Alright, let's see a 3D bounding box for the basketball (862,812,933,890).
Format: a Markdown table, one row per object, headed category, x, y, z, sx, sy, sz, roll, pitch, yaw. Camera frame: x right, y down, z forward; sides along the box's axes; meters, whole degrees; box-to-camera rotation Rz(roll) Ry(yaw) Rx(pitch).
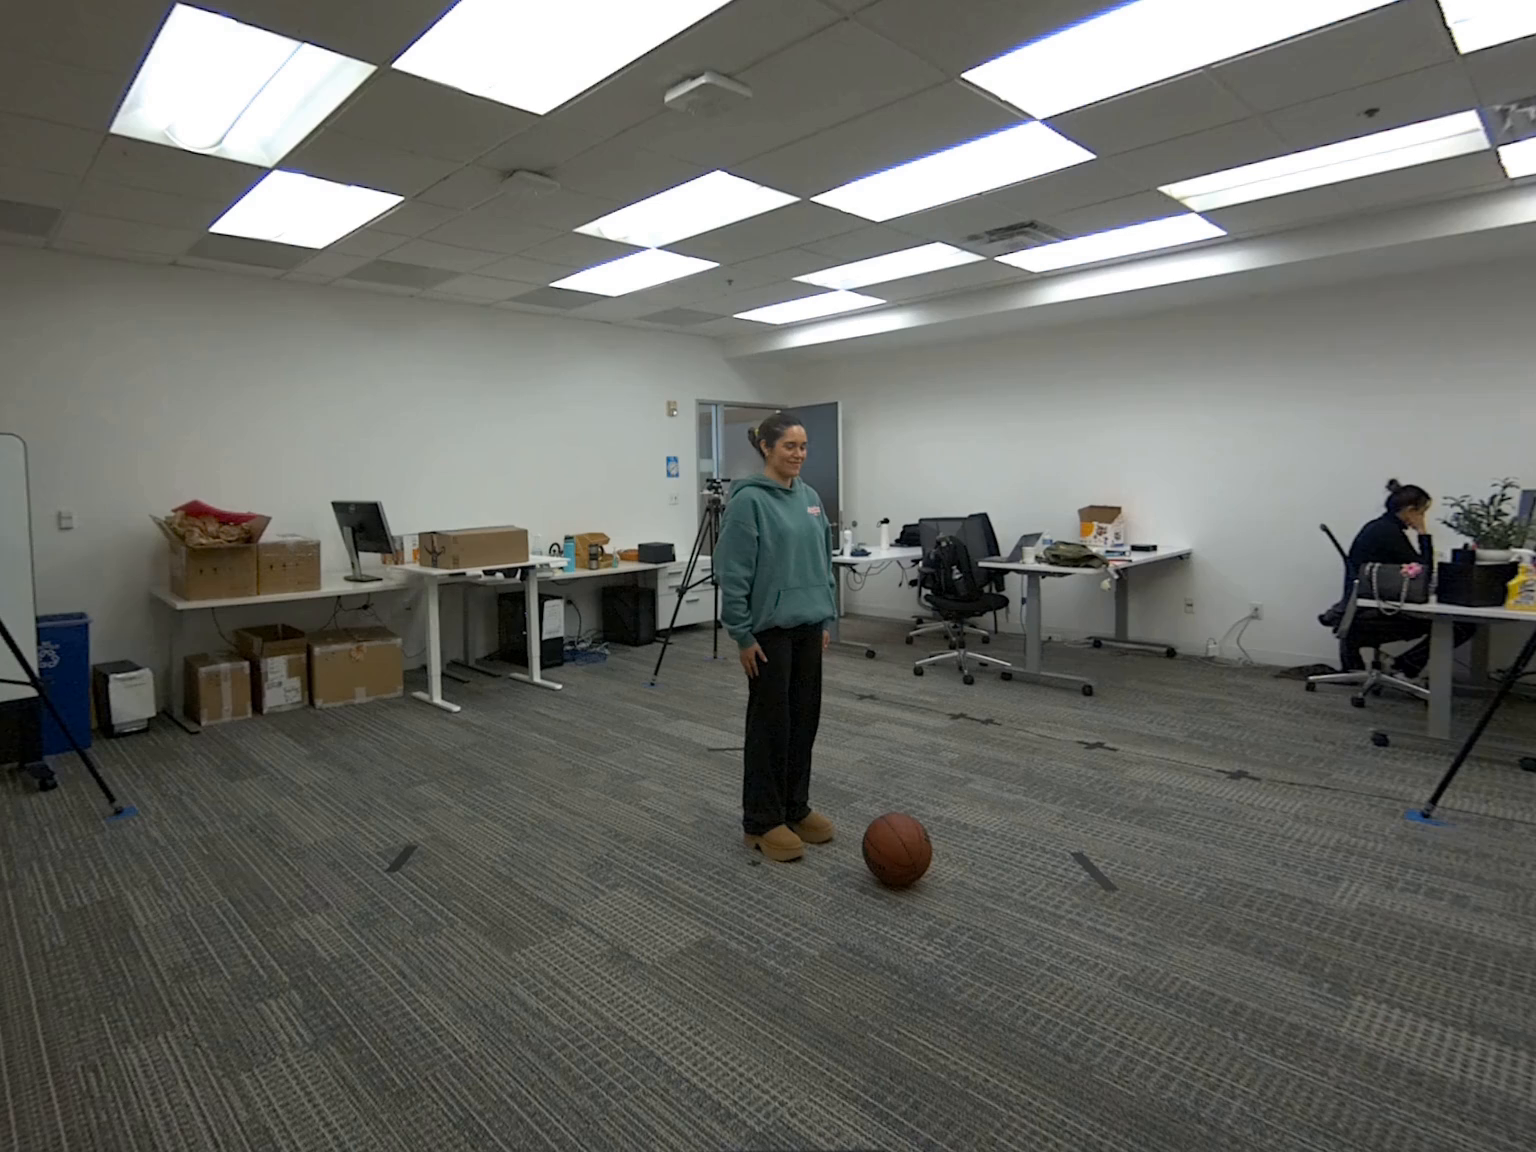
| category | x | y | z | sx | sy | sz | roll | pitch | yaw |
| --- | --- | --- | --- | --- | --- | --- | --- | --- | --- |
| basketball | 0.453 | 0.936 | 2.934 | 0.236 | 0.235 | 0.237 | -1 | 5 | -2 |
